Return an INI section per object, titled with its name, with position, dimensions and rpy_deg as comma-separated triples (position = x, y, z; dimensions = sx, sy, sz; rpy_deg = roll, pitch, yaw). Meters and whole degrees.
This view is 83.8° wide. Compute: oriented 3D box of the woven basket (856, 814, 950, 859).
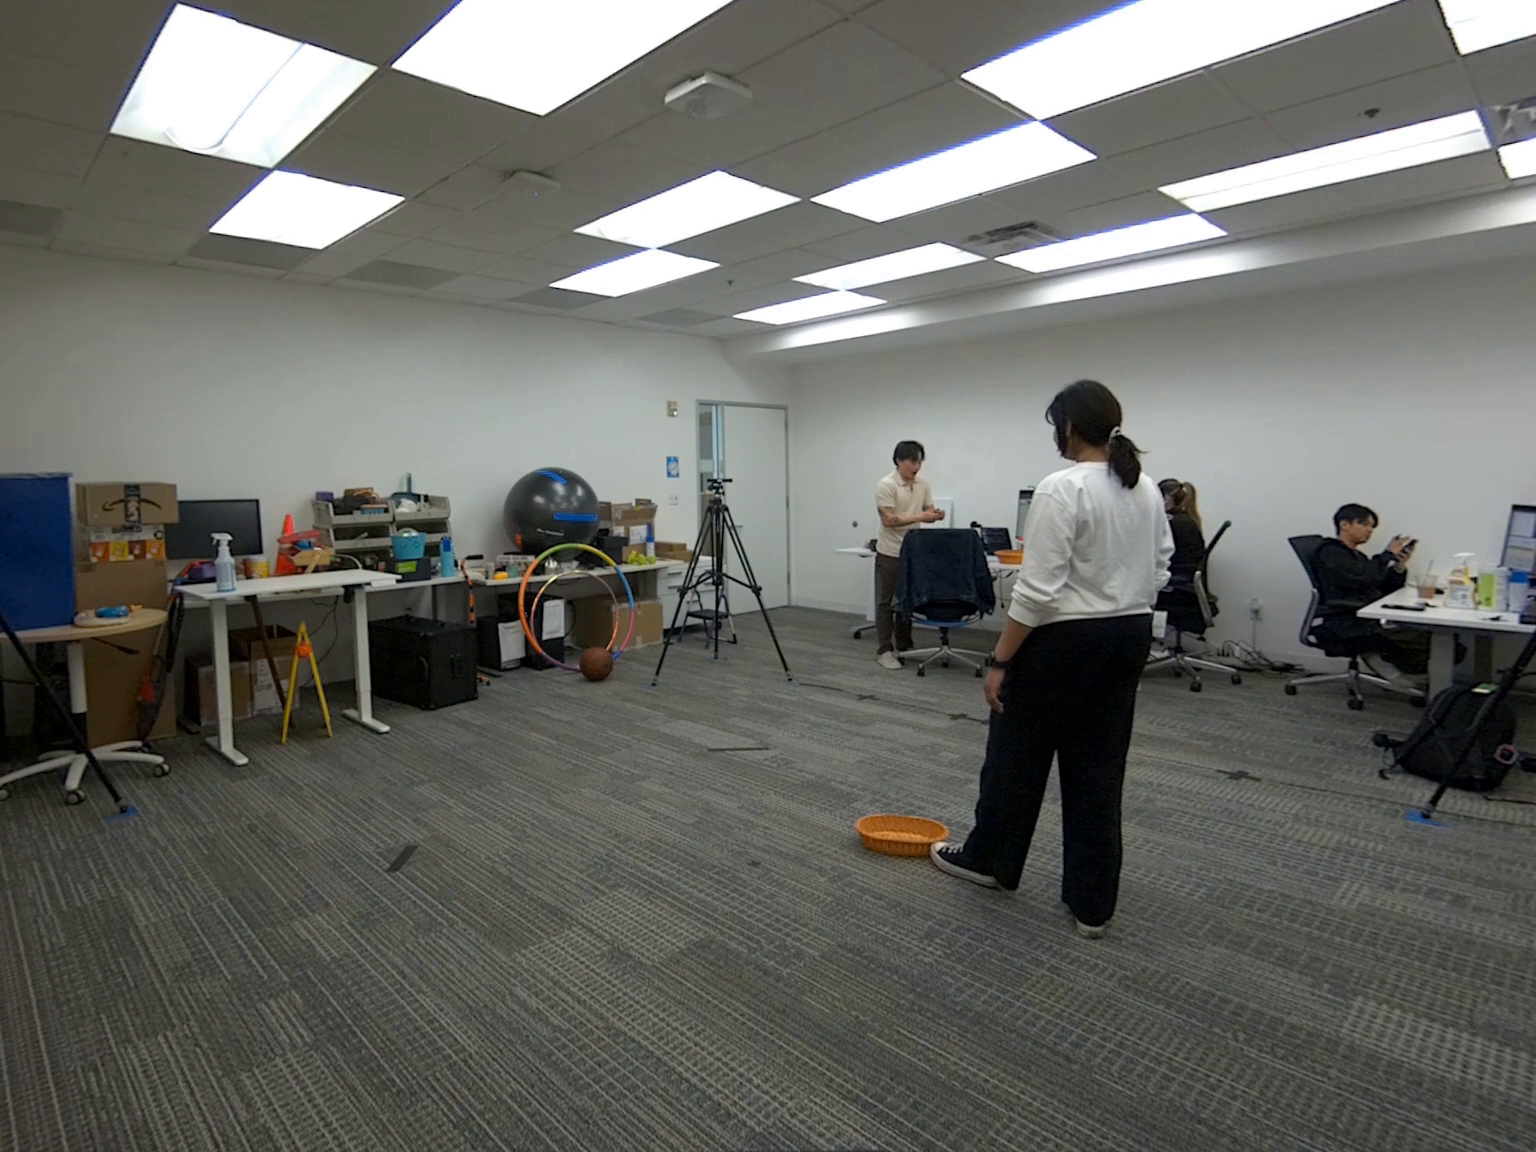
[woven basket]
position = 0.503, 0.982, 3.236
dimensions = 0.356, 0.073, 0.249
rpy_deg = 0, 4, 17
